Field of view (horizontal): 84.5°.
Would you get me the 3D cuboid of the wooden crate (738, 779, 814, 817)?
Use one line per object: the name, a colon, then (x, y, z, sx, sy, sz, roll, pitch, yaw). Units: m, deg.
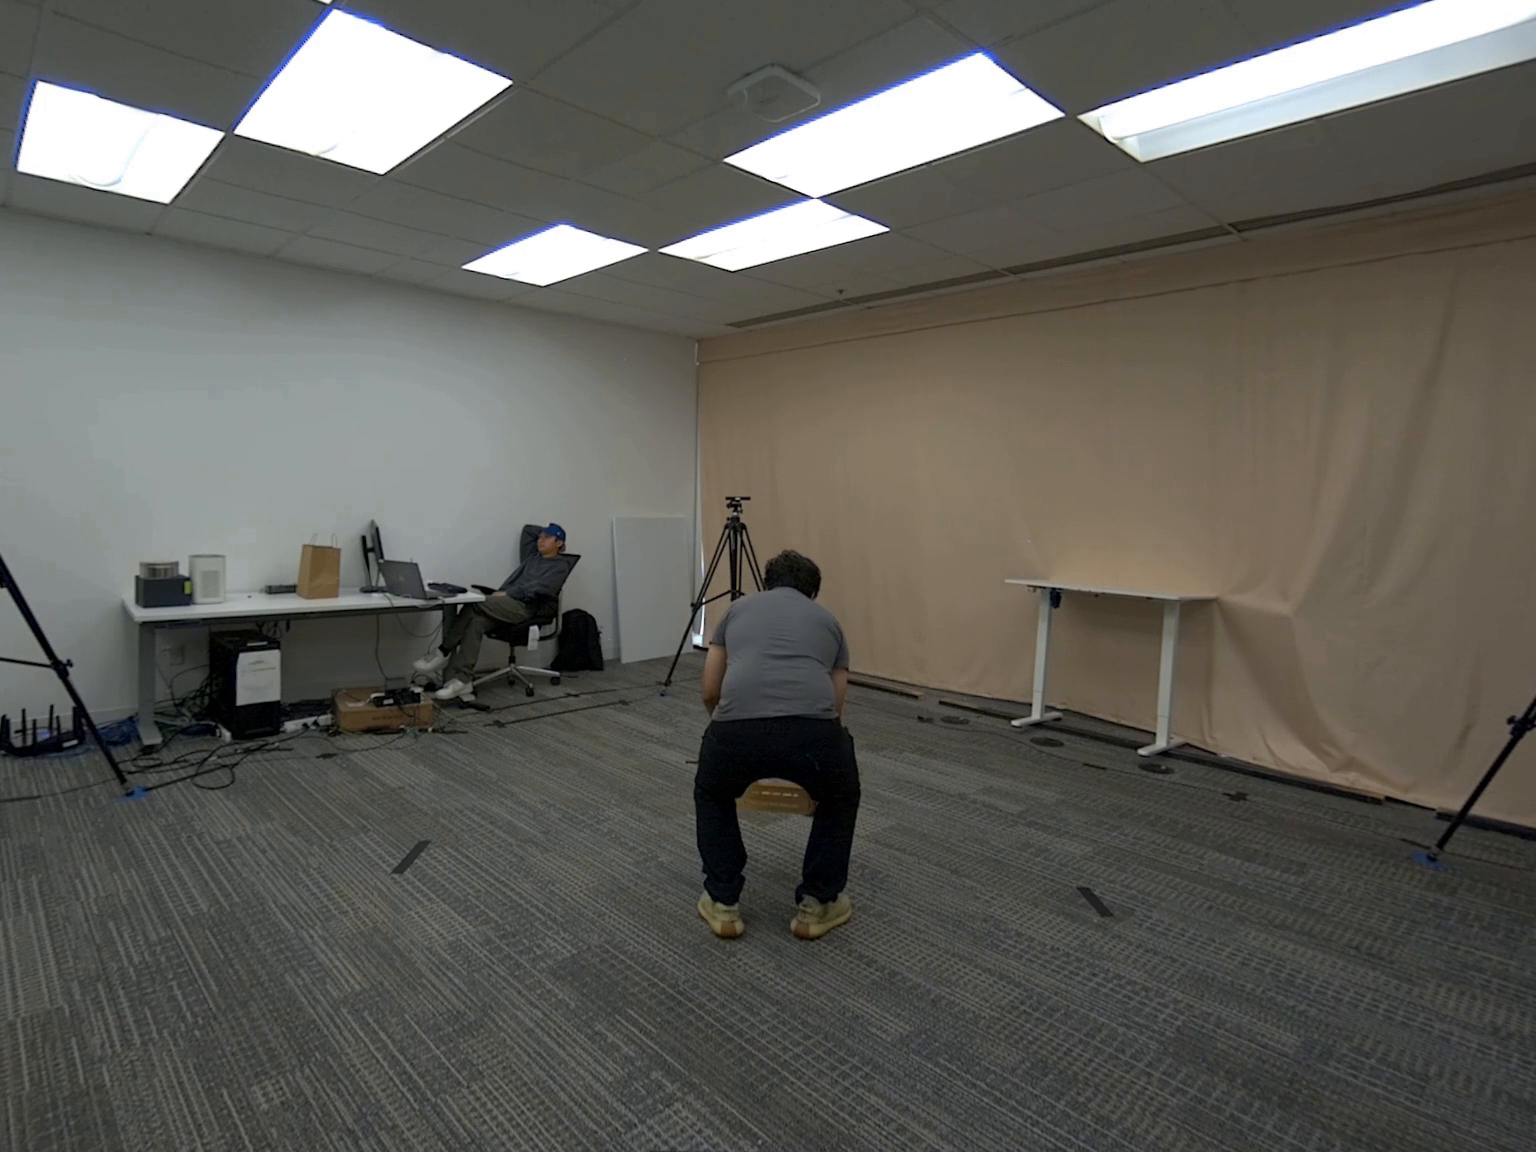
wooden crate: (0.040, 0.719, 3.139, 0.329, 0.273, 0.297, -2, -1, 20)
